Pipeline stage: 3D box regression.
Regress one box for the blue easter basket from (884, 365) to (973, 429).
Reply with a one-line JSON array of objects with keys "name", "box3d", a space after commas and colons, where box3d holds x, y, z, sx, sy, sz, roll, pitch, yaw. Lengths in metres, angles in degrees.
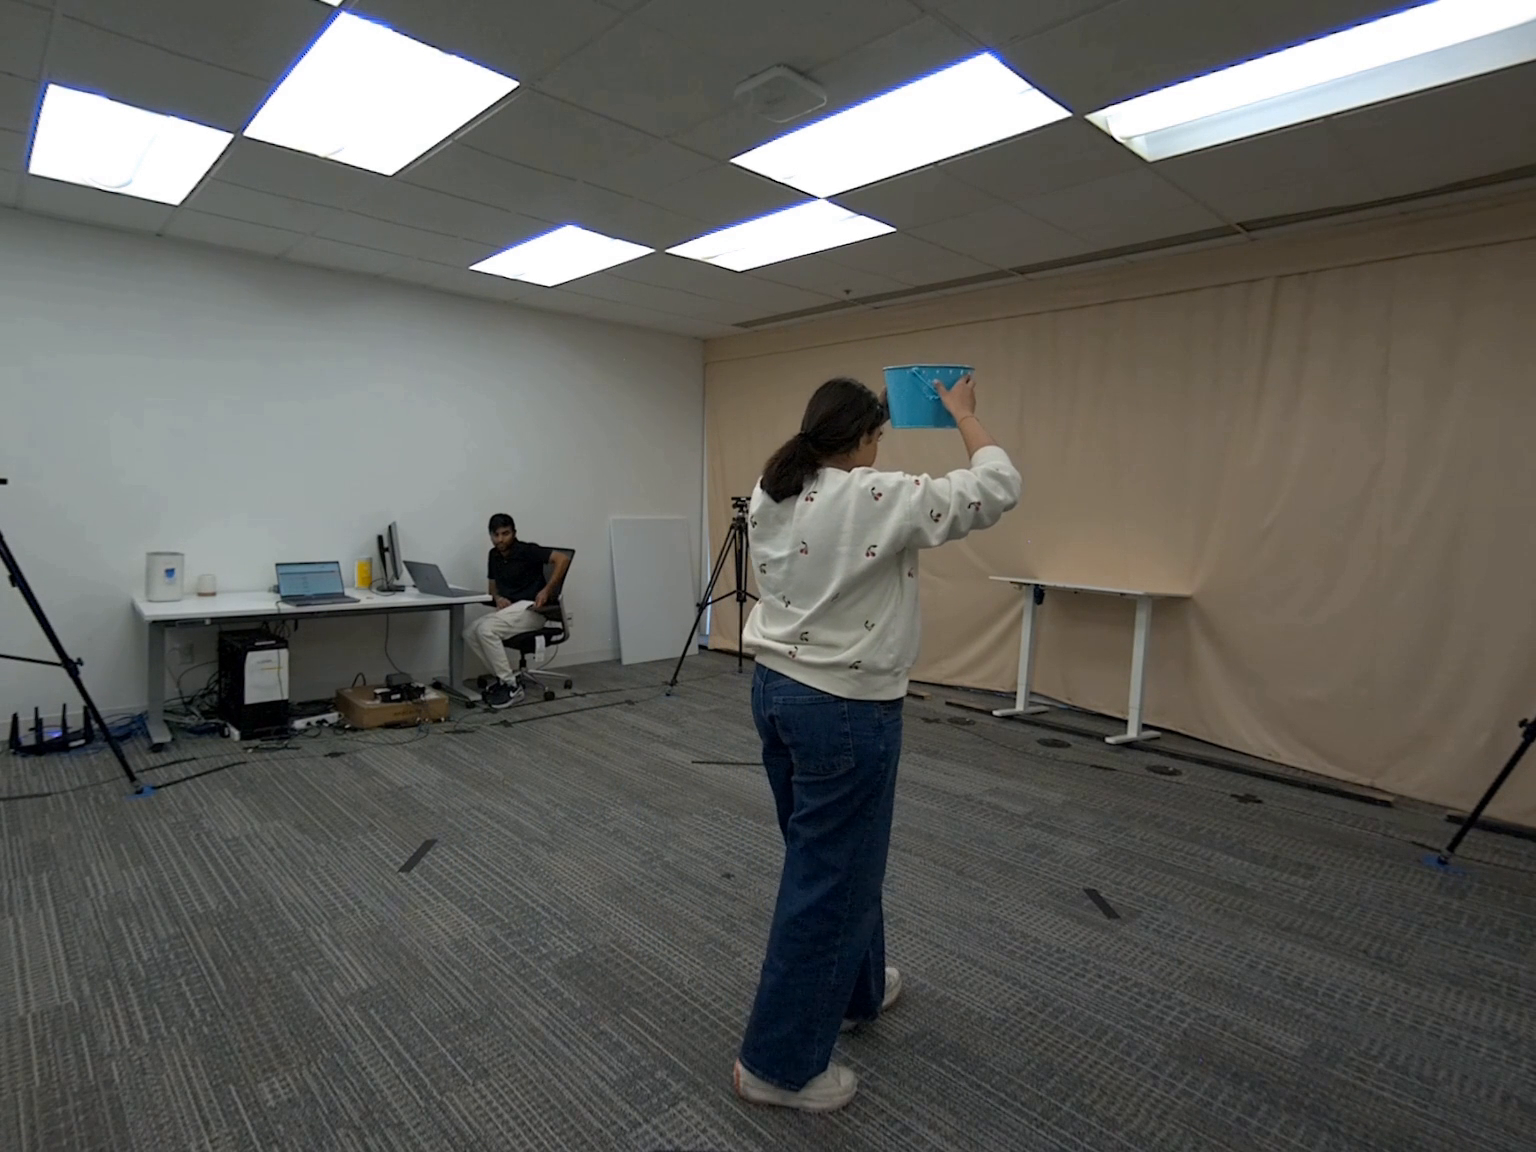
[{"name": "blue easter basket", "box3d": [0.413, -0.461, 2.159, 0.243, 0.155, 0.245, 1, 9, -2]}]
